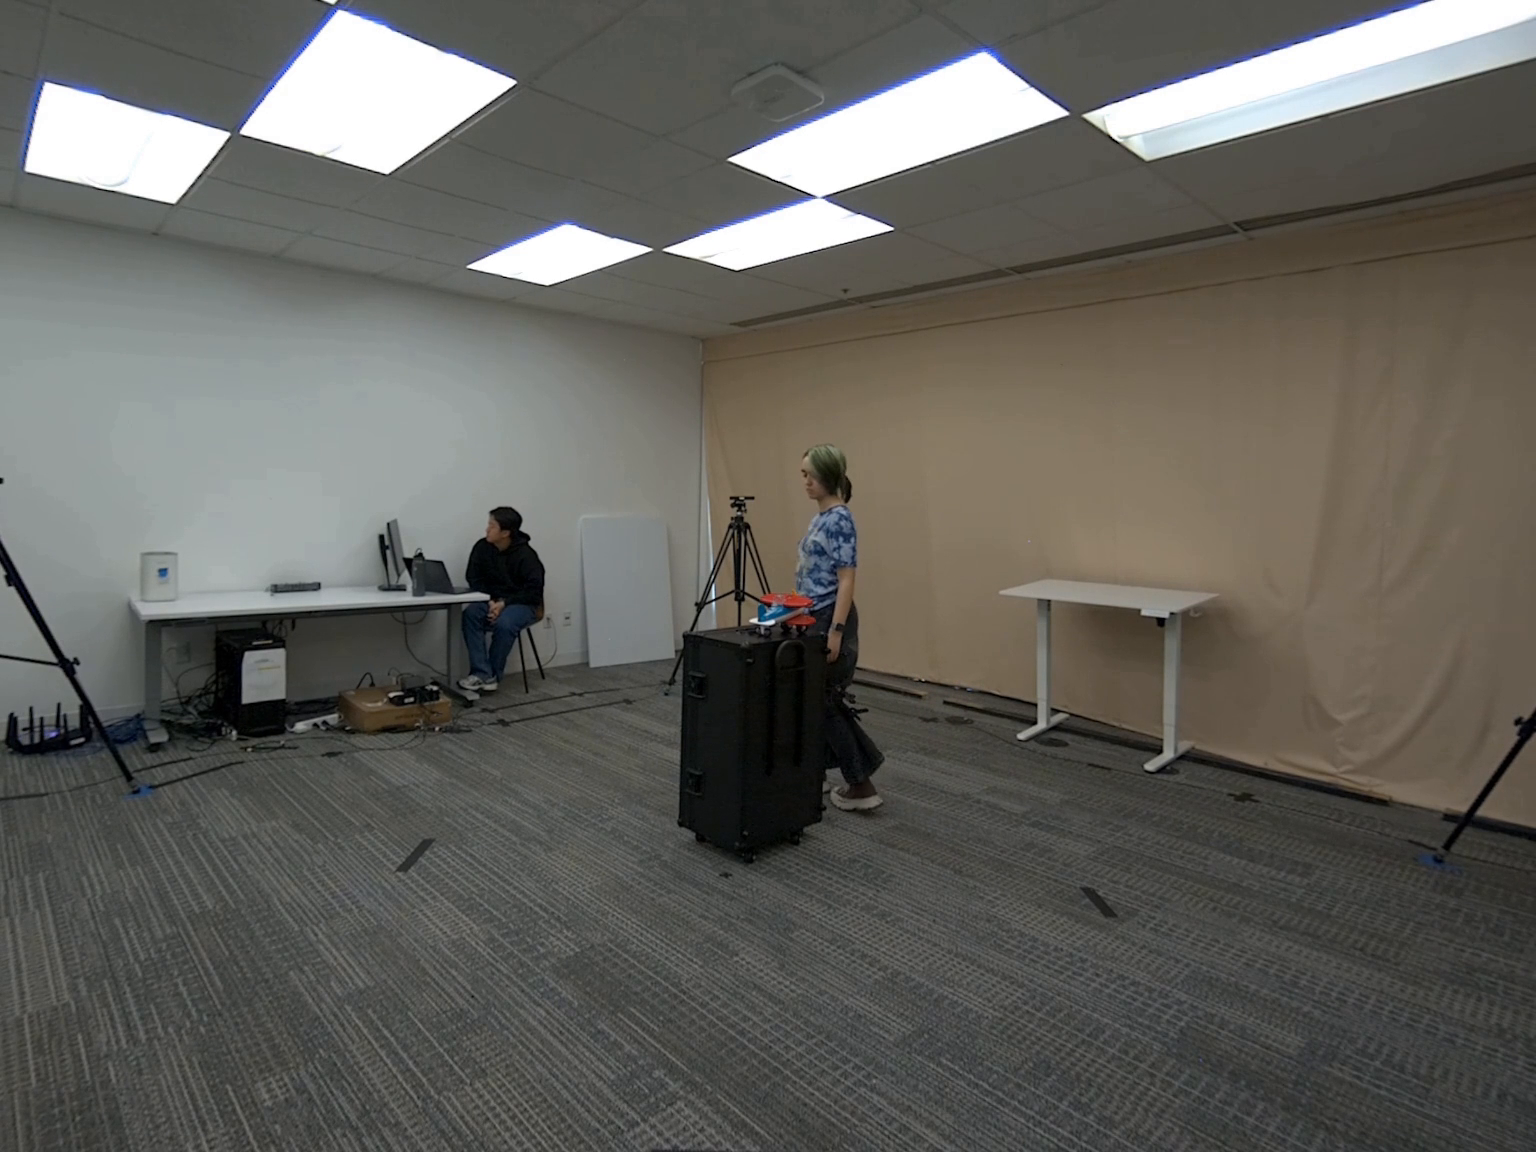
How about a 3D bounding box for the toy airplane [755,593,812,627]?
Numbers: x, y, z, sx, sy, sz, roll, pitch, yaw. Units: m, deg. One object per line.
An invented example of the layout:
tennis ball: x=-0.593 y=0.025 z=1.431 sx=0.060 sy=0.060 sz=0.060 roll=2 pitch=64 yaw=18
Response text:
toy airplane: x=0.063 y=0.158 z=3.372 sx=0.254 sy=0.156 sz=0.256 roll=3 pitch=4 yaw=16
